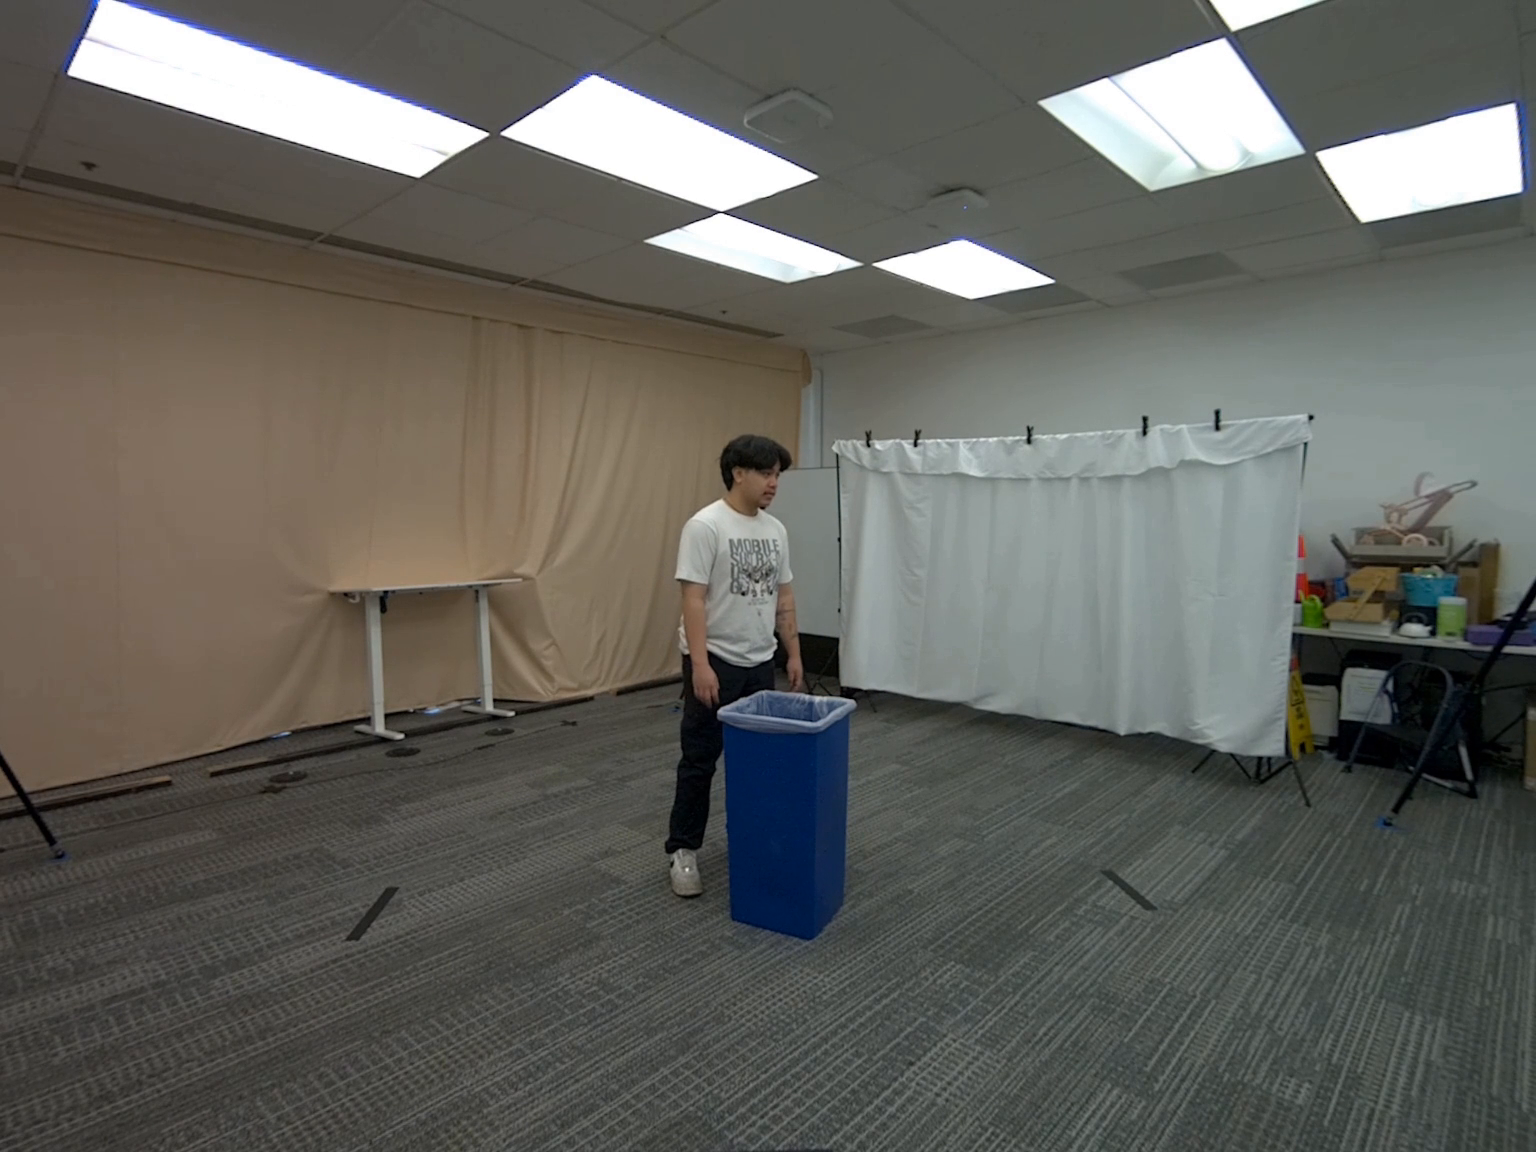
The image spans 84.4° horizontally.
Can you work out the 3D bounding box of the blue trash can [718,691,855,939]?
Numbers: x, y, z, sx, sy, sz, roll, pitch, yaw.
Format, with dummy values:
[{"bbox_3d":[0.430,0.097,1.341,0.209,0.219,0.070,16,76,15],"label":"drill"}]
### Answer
[{"bbox_3d":[0.072,0.796,2.864,0.388,0.712,0.365,1,3,27],"label":"blue trash can"}]
